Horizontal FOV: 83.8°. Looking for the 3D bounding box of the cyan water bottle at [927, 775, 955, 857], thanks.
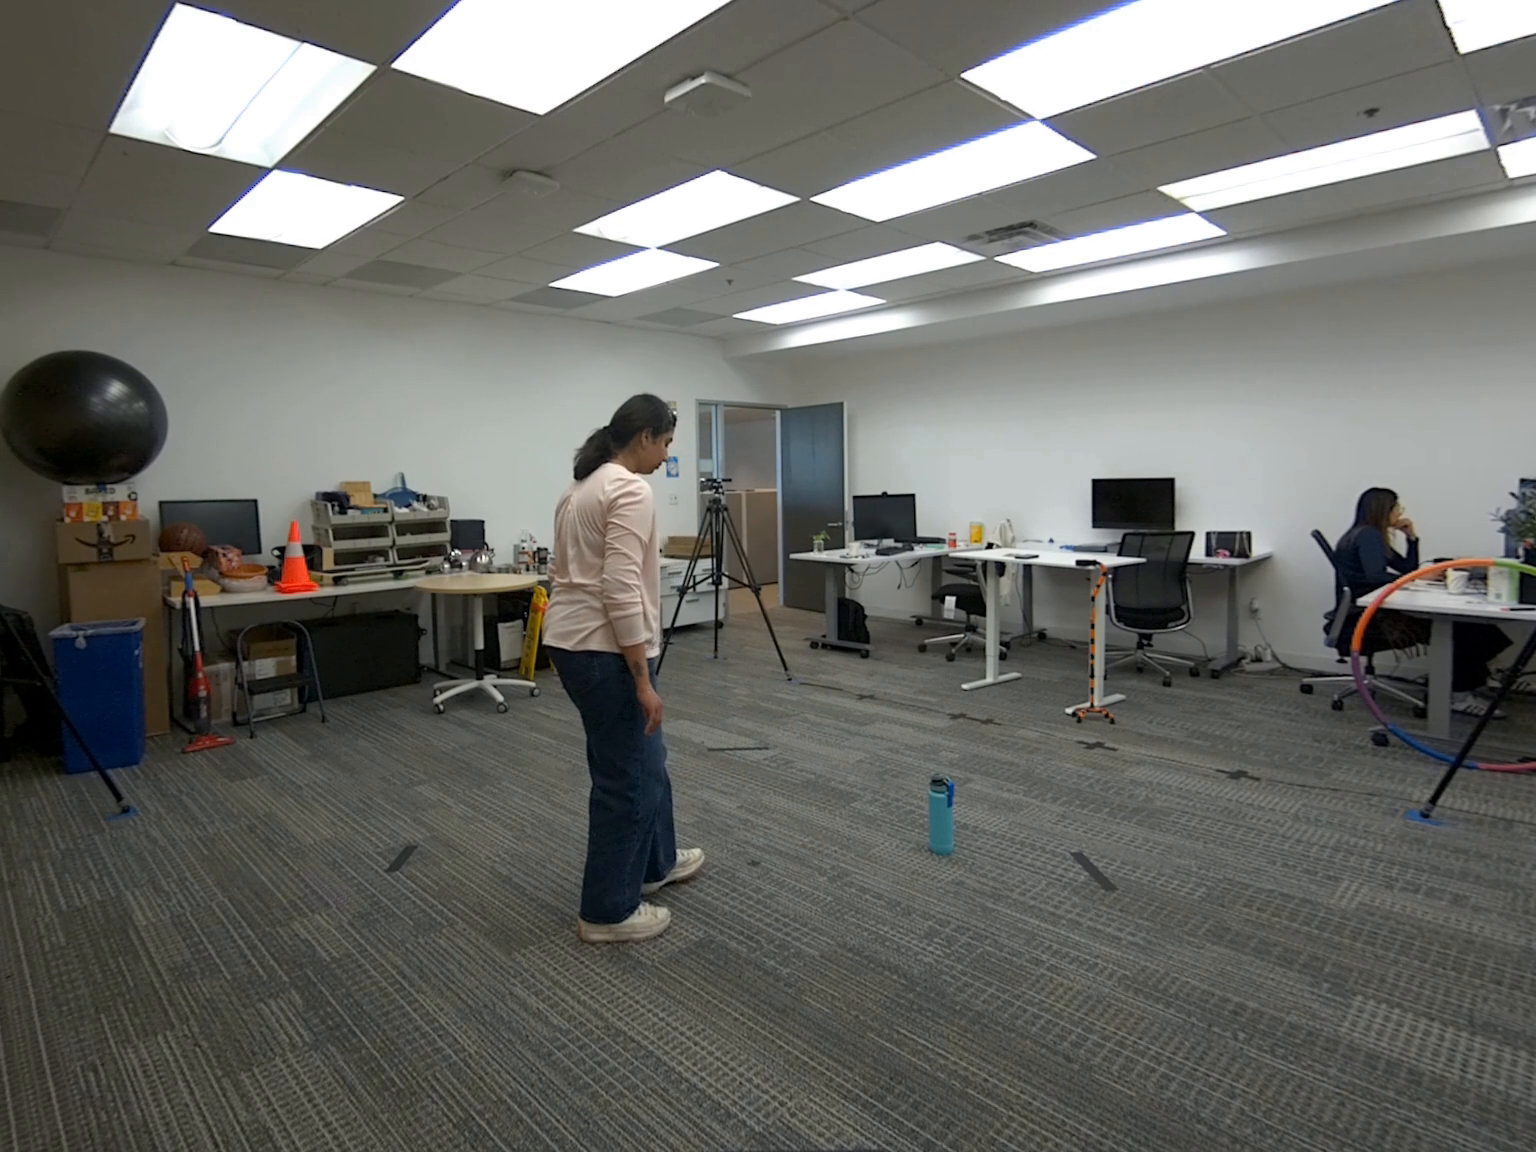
[{"bbox_3d":[0.654,0.886,3.185,0.092,0.283,0.092,-1,2,-2],"label":"cyan water bottle"}]
